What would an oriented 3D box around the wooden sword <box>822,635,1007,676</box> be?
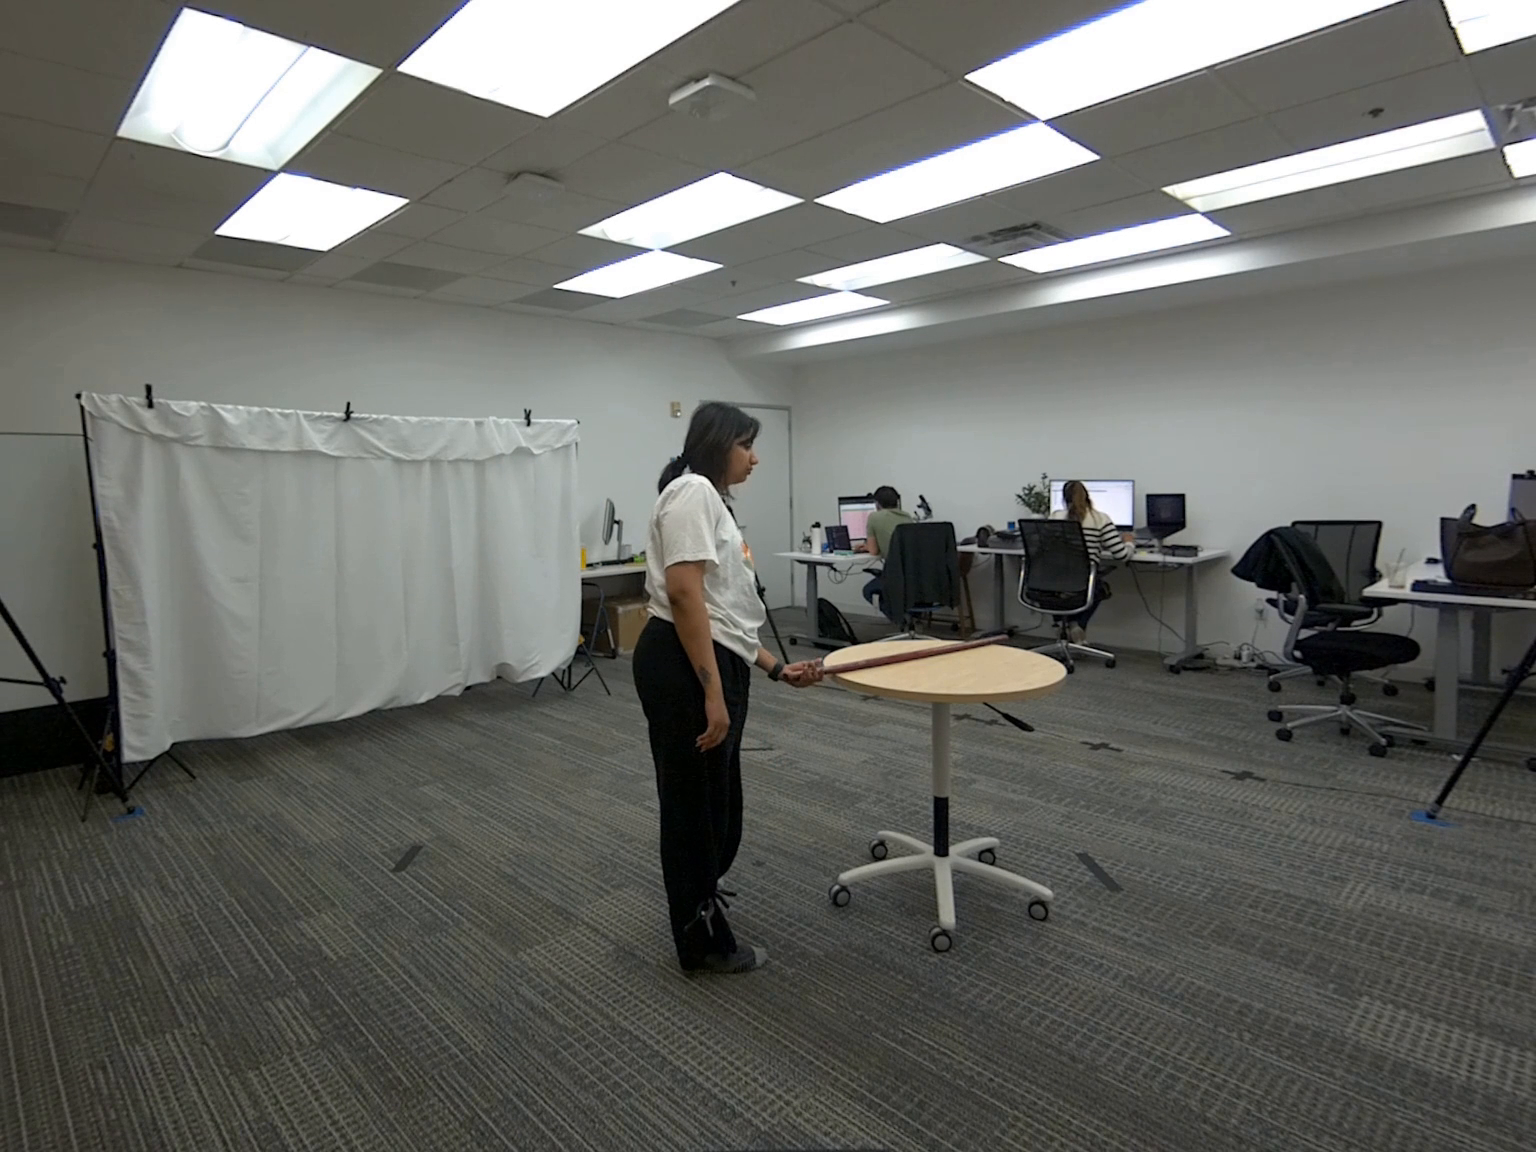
[{"bbox_3d":[0.434,0.263,2.900,1.000,0.024,0.052,-5,-15,-32],"label":"wooden sword"}]
